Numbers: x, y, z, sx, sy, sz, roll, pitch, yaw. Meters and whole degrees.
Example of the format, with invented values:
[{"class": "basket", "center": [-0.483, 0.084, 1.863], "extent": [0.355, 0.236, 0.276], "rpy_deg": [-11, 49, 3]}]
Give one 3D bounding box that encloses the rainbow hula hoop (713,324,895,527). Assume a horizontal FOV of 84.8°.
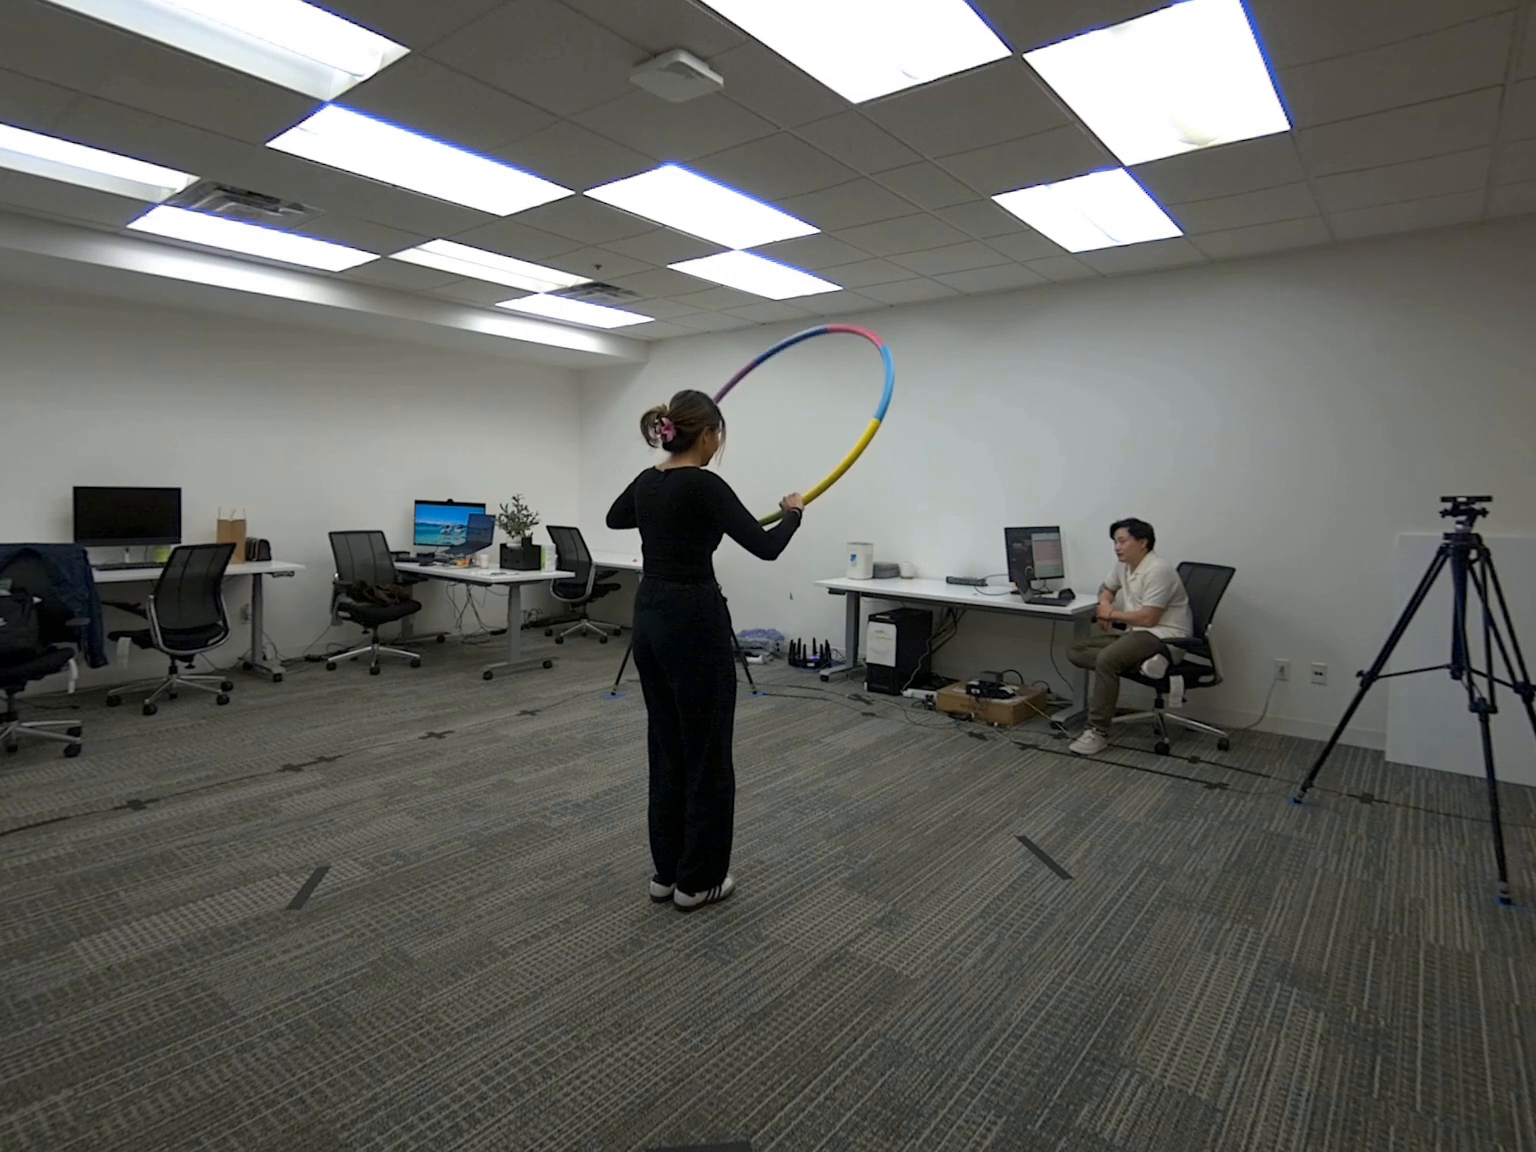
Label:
[{"class": "rainbow hula hoop", "center": [0.027, -0.566, 3.222], "extent": [1.012, 0.985, 0.034], "rpy_deg": [5, -29, 45]}]
